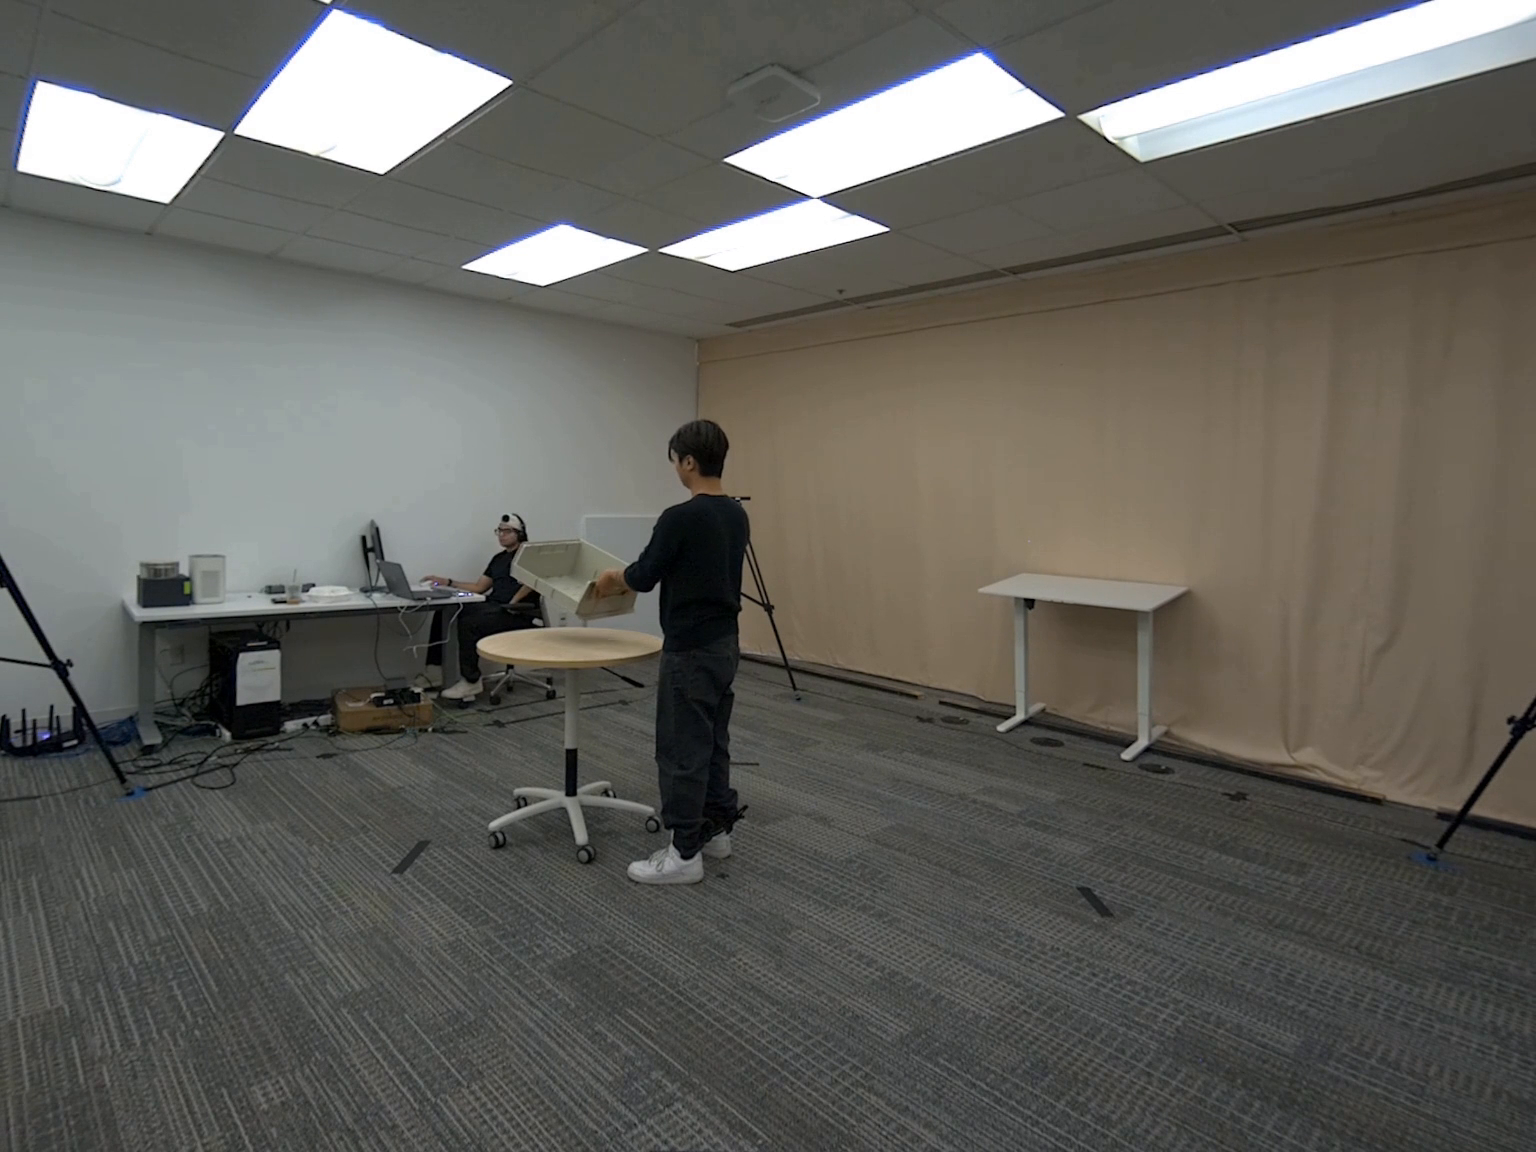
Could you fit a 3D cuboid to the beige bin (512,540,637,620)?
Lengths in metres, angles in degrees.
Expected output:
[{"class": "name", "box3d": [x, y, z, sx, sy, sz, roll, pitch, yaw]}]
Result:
[{"class": "beige bin", "box3d": [-0.808, 0.015, 3.551, 0.434, 0.187, 0.370, 25, 17, 30]}]
